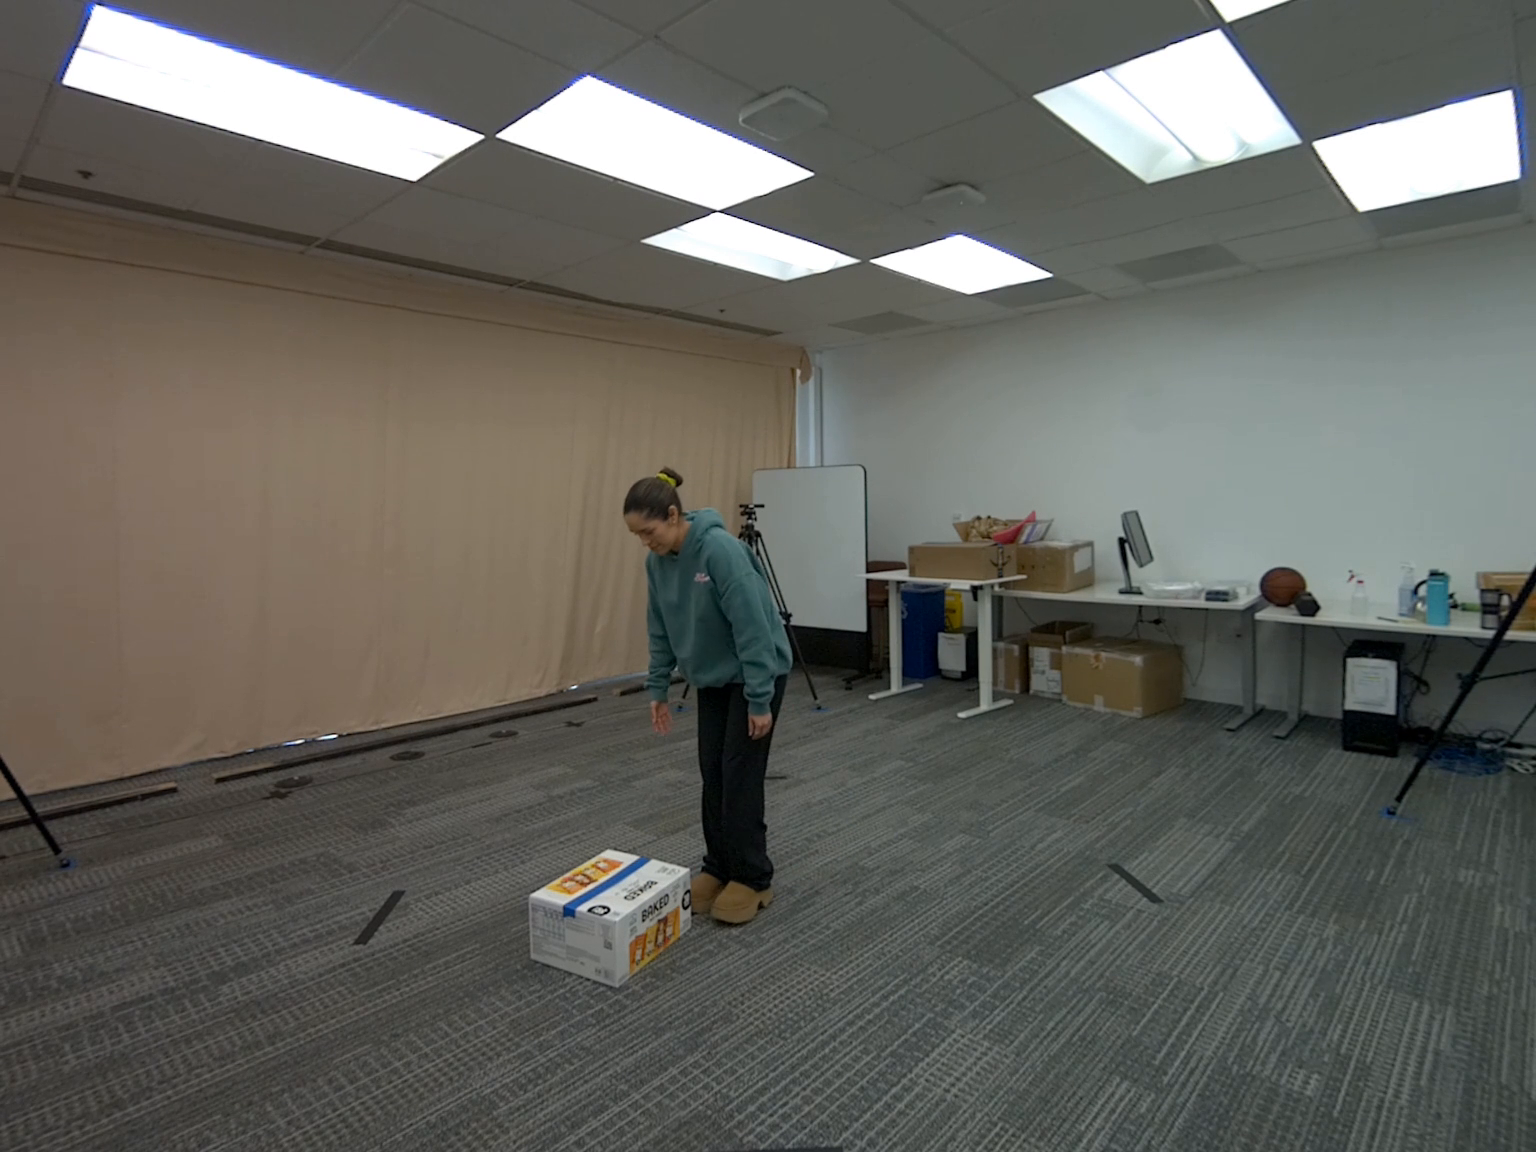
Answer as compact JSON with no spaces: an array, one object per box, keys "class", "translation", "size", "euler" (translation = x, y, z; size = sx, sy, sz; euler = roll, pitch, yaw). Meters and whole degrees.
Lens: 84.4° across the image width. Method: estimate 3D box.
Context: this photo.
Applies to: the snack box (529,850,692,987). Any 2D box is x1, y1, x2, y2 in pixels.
[{"class":"snack box","translation":[-0.495,1.076,2.679],"size":[0.350,0.205,0.395],"euler":[1,5,29]}]
